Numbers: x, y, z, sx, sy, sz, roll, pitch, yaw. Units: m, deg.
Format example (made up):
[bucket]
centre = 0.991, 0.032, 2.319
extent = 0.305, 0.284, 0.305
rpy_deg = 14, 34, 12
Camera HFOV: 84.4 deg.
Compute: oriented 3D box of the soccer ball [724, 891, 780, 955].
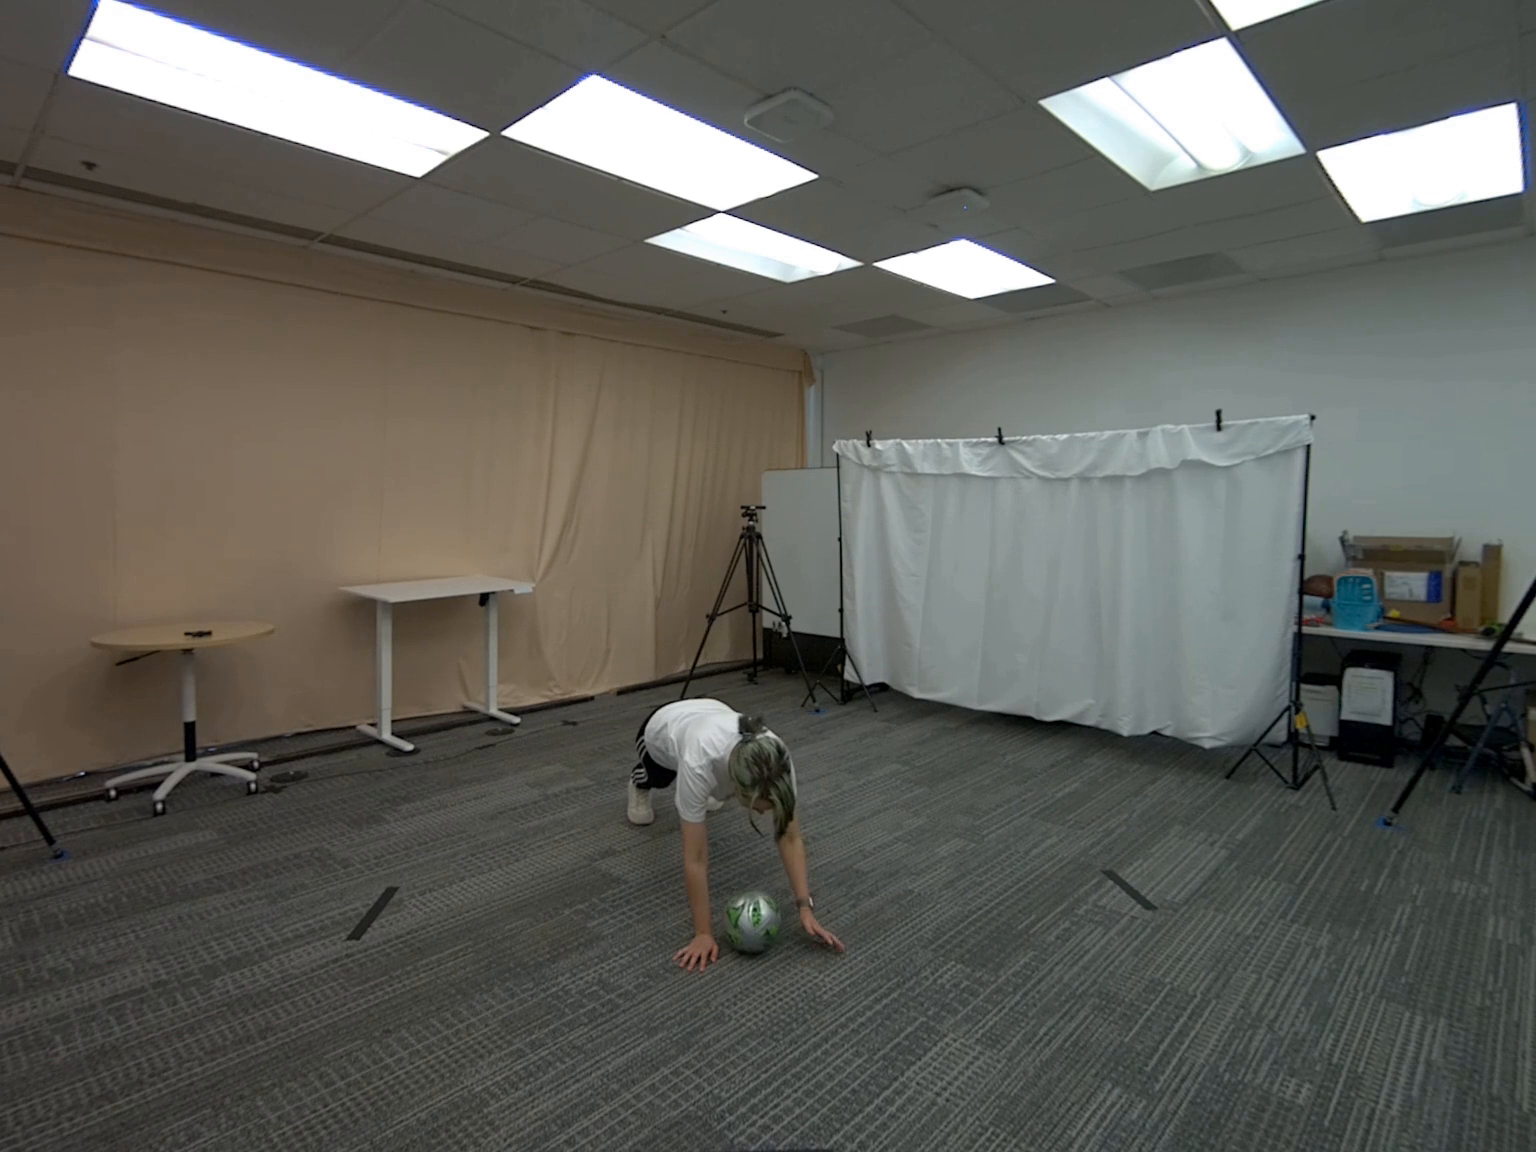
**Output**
[soccer ball]
centre = -0.047, 1.080, 2.634
extent = 0.187, 0.187, 0.188
rpy_deg = 0, 4, -2
